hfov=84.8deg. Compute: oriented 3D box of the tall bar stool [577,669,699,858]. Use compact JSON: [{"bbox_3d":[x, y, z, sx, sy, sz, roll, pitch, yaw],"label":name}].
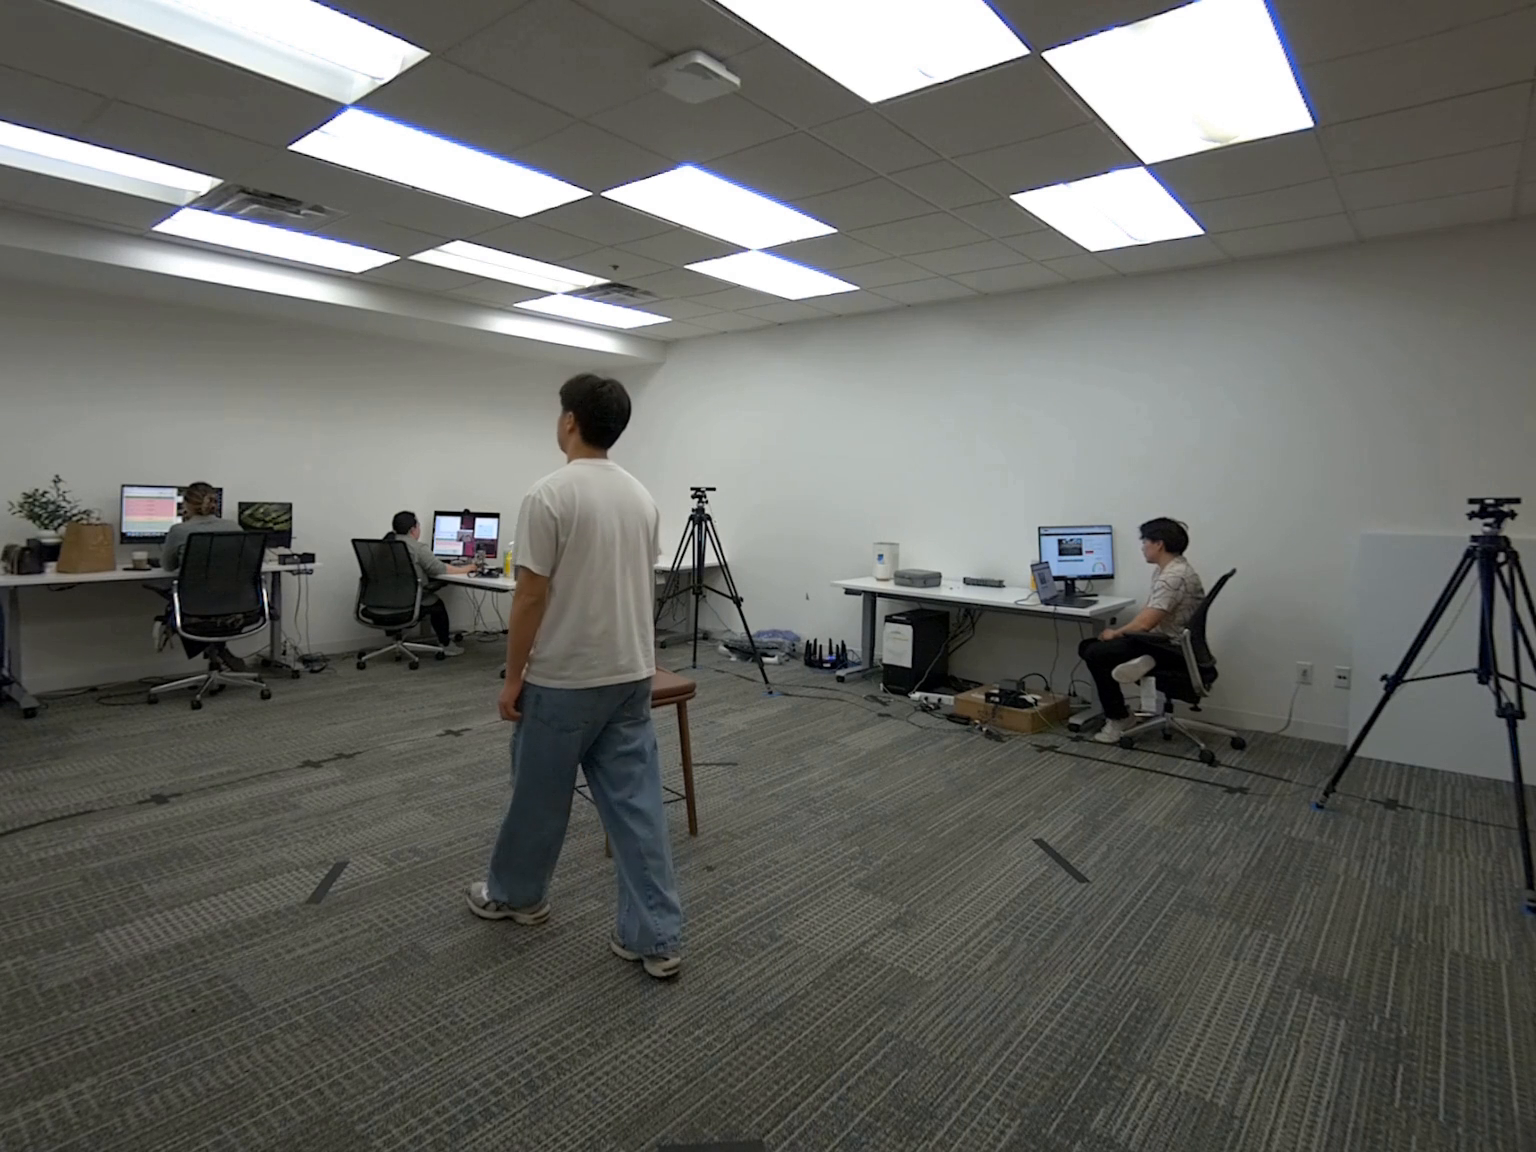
[{"bbox_3d":[-0.584,0.586,3.464,0.443,0.889,0.482,-1,2,-38],"label":"tall bar stool"}]
